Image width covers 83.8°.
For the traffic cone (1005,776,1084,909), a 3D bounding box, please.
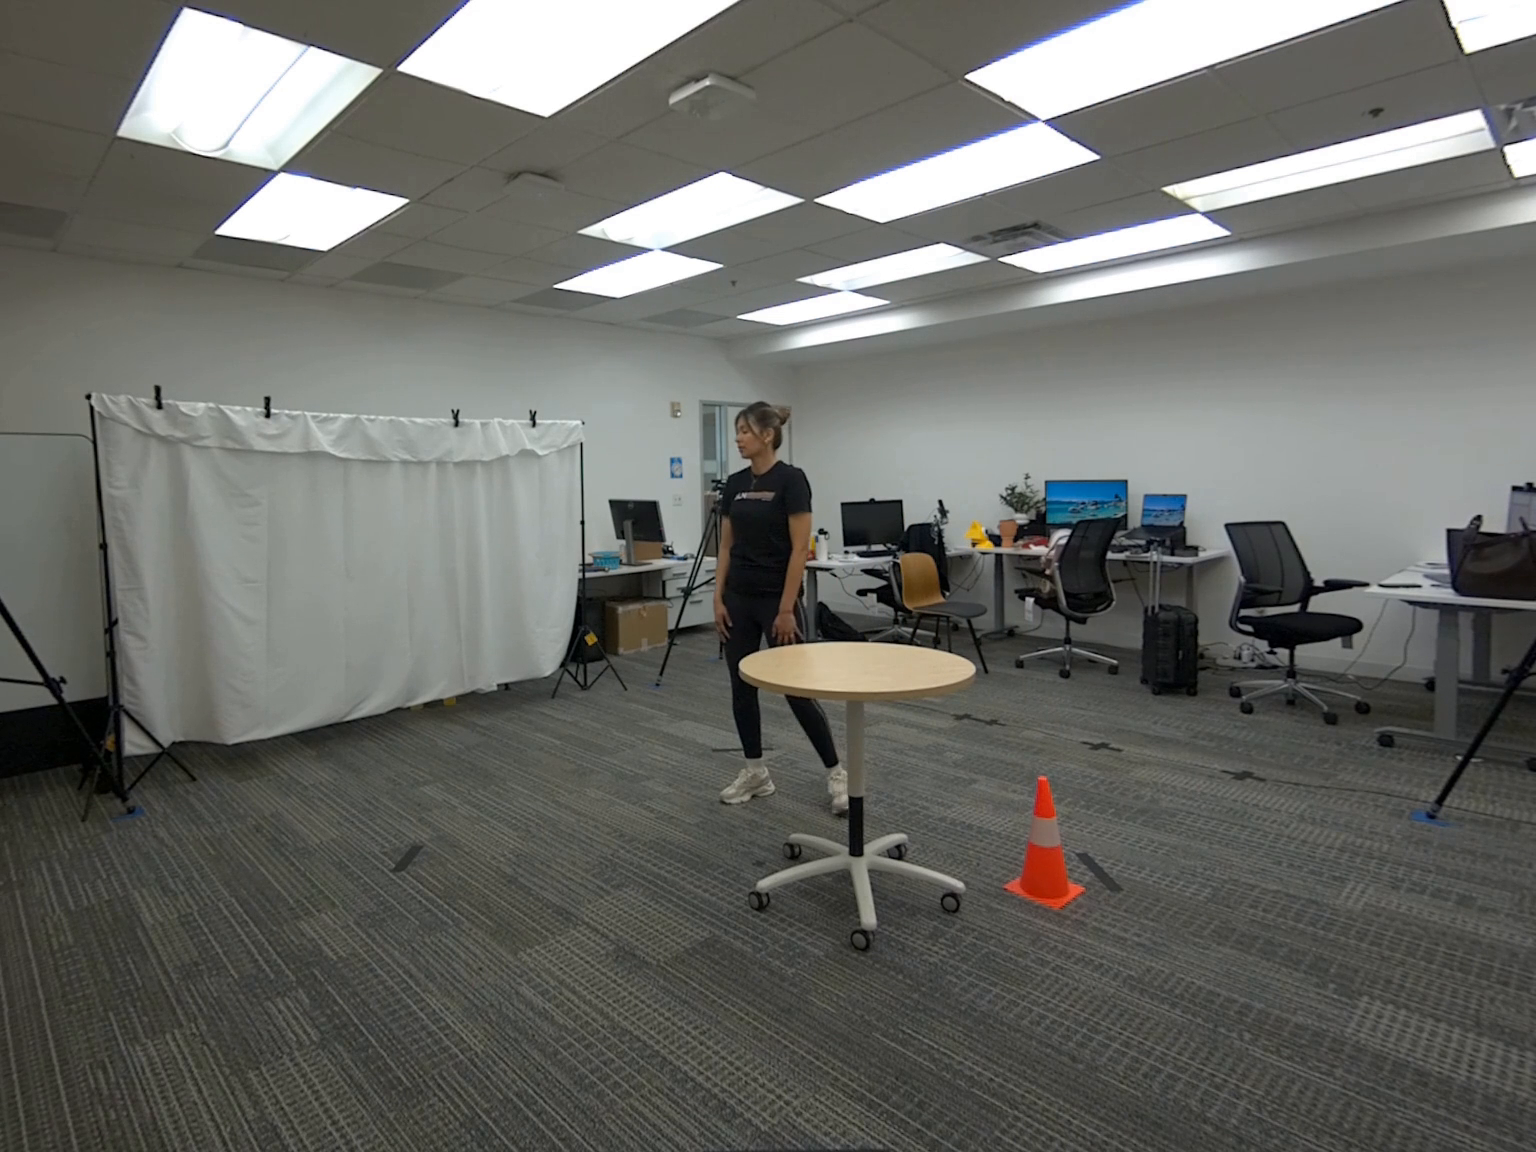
[{"bbox_3d":[0.940,0.873,2.870,0.200,0.382,0.209,-3,5,-35],"label":"traffic cone"}]
